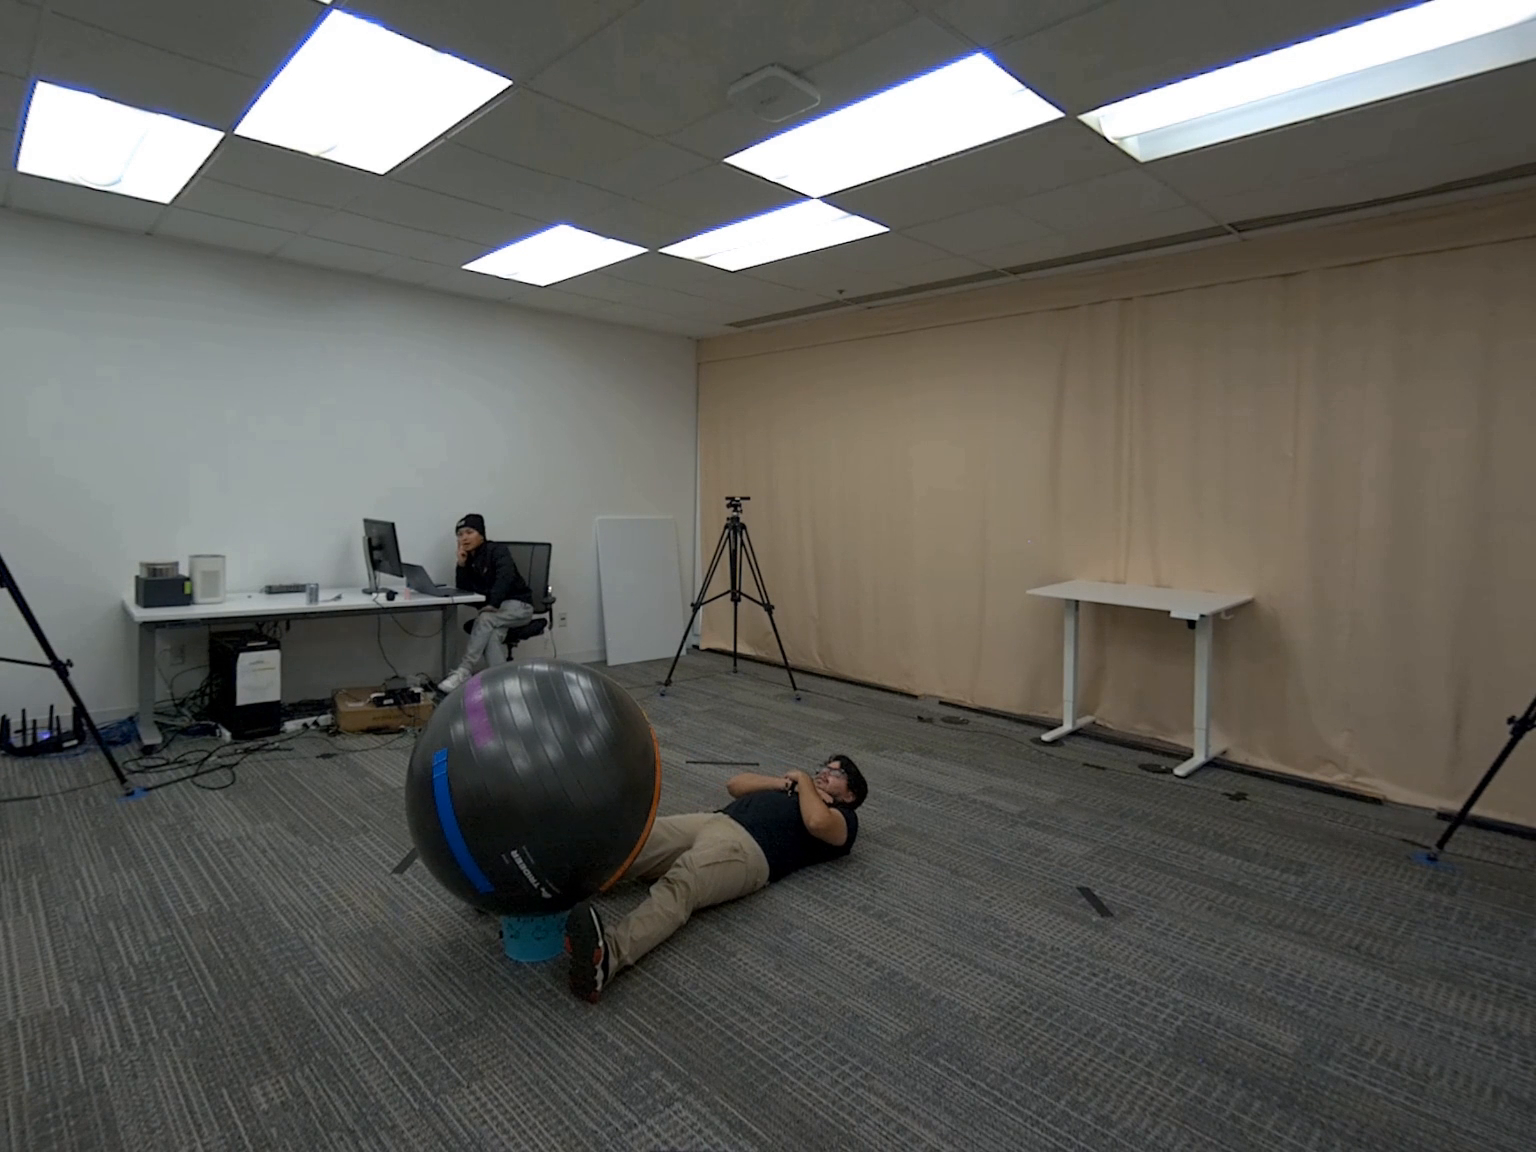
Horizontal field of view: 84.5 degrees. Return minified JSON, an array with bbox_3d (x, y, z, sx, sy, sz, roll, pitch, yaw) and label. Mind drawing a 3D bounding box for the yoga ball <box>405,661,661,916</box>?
[{"bbox_3d":[-0.713,0.636,2.567,0.757,0.756,0.761,1,4,-1],"label":"yoga ball"}]
